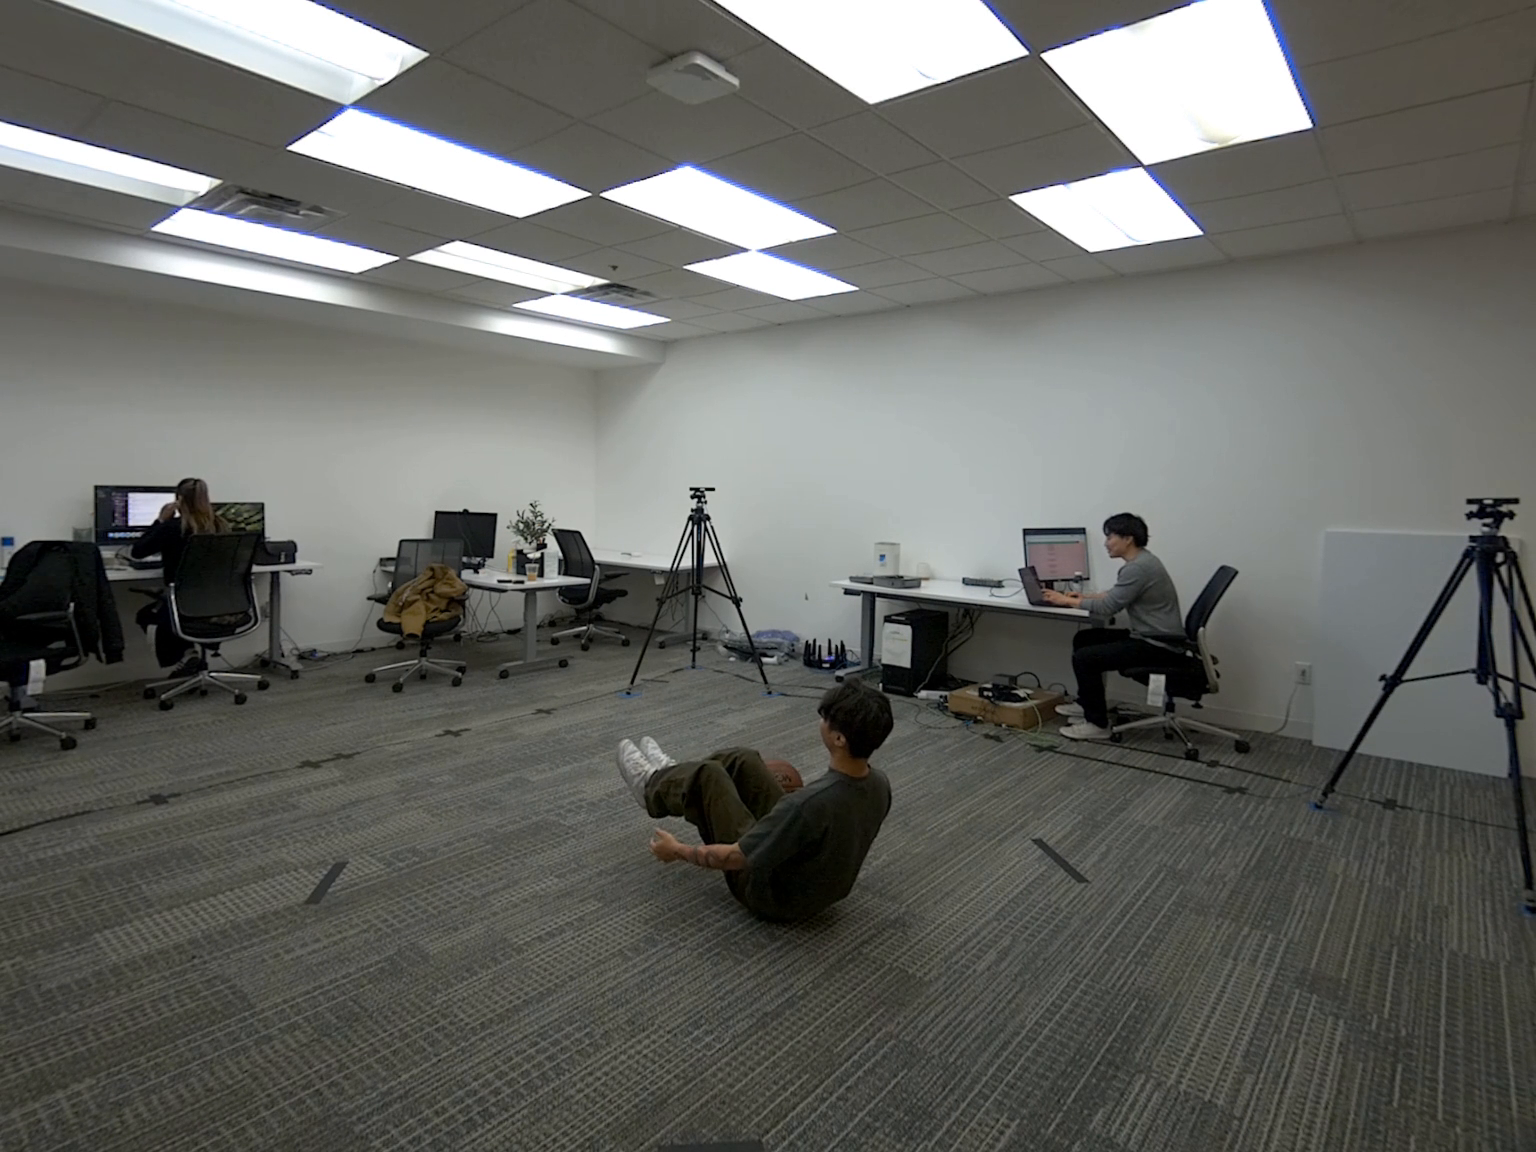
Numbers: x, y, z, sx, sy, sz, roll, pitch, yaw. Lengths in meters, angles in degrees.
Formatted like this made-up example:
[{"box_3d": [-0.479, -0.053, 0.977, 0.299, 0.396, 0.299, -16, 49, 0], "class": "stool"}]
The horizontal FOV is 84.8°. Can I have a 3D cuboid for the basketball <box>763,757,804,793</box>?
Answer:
[{"box_3d": [-0.003, 0.798, 3.229, 0.235, 0.235, 0.237, 1, 4, -2], "class": "basketball"}]
